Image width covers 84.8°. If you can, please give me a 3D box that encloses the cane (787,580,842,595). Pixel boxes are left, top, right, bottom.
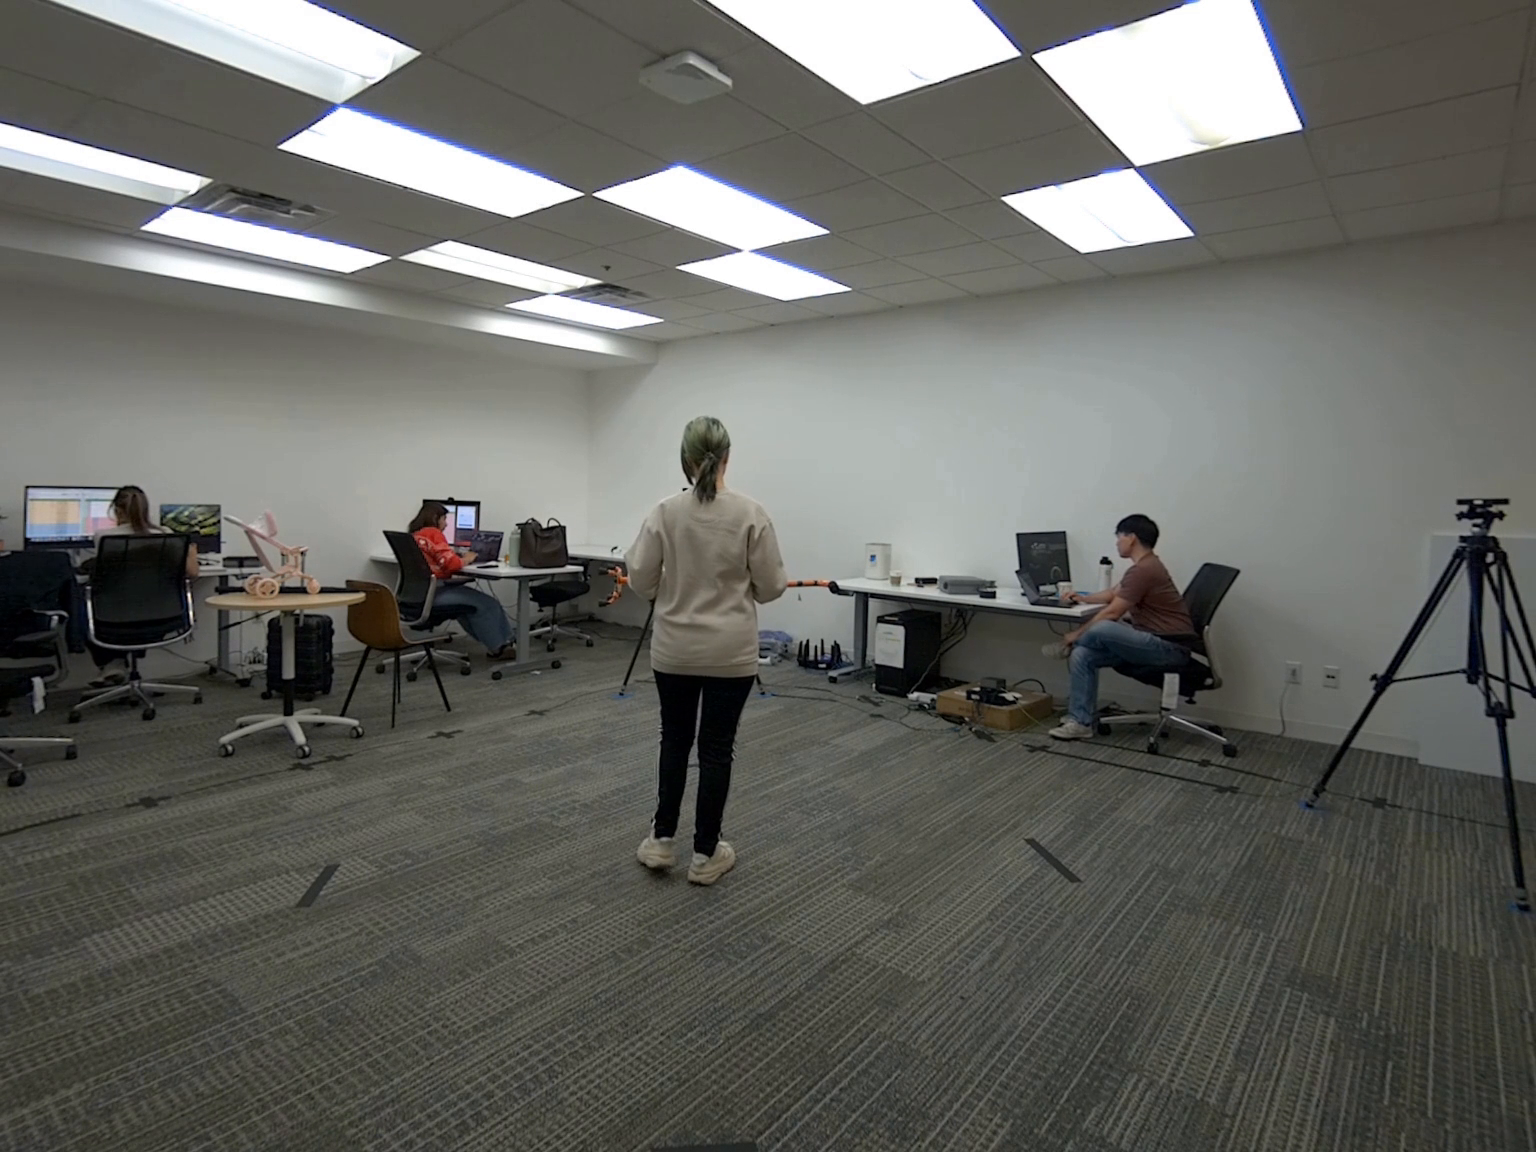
[{"bbox_3d":[-0.184,0.036,3.310,0.911,0.151,0.206,0,3,3],"label":"cane"}]
